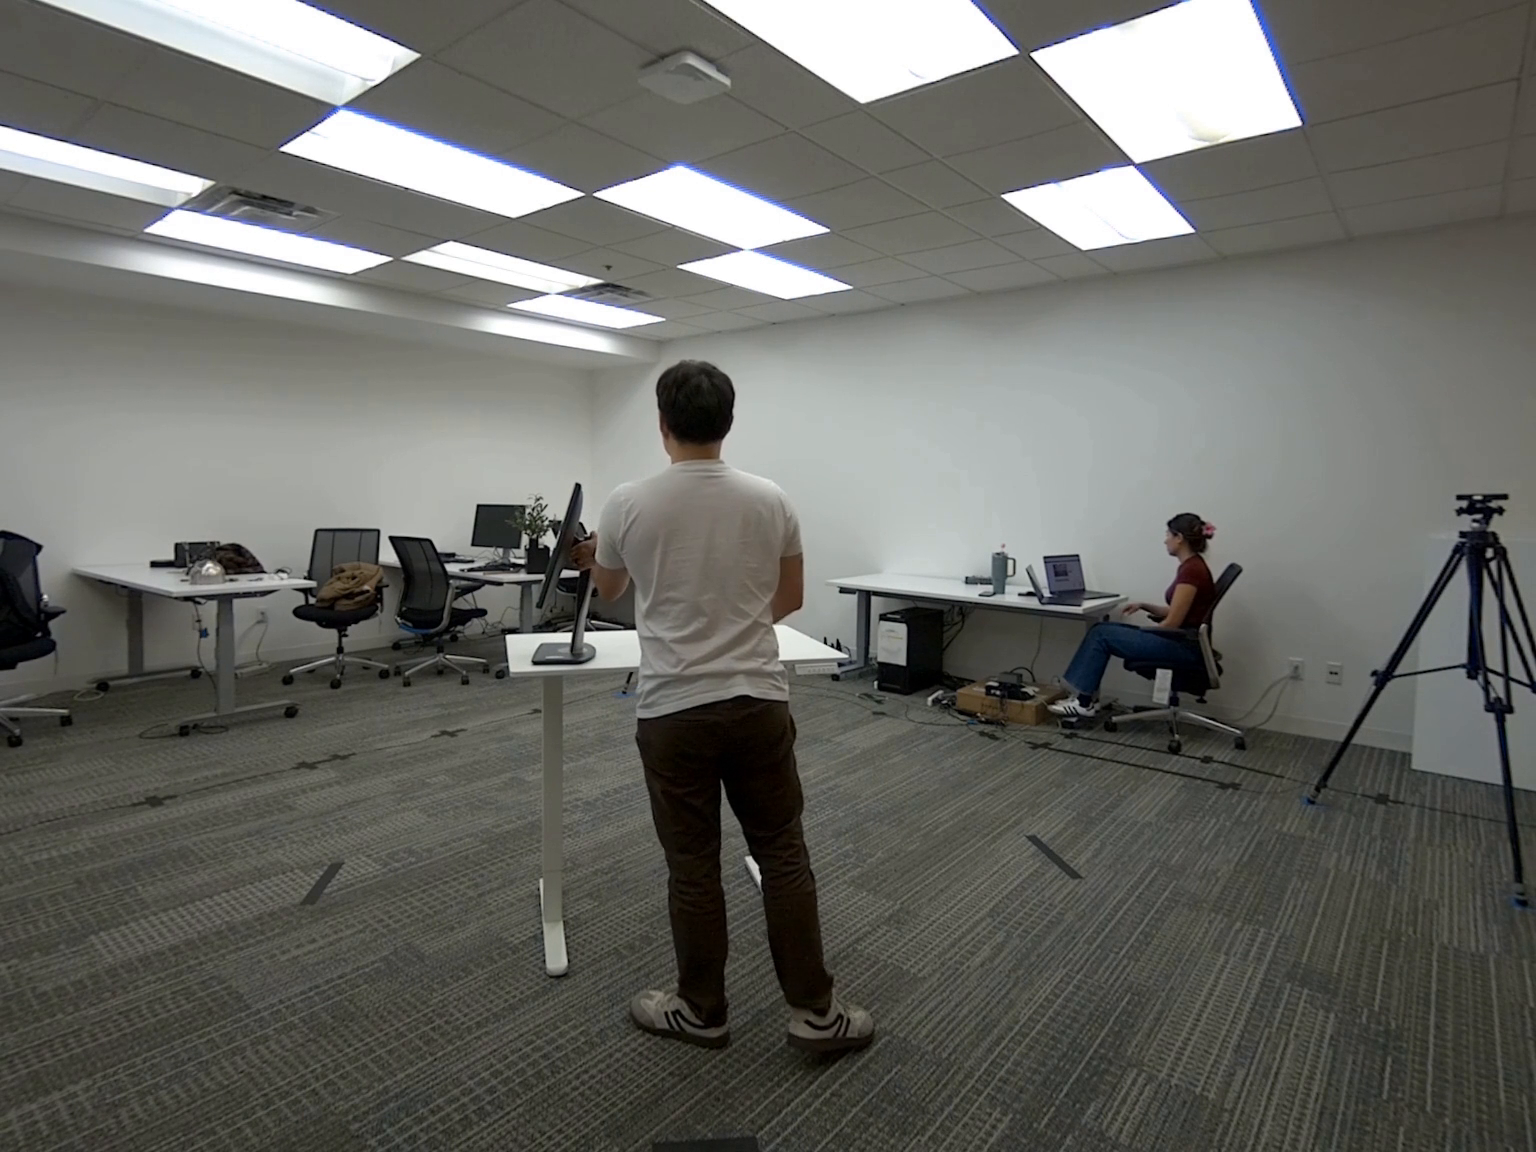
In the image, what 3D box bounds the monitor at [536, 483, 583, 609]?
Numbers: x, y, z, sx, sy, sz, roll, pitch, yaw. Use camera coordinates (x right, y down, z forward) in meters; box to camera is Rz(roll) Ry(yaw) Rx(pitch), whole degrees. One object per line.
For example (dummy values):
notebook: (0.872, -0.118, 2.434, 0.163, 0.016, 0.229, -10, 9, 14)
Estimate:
monitor: (-0.609, -0.016, 2.536, 0.184, 0.521, 0.548, 4, 3, -14)
